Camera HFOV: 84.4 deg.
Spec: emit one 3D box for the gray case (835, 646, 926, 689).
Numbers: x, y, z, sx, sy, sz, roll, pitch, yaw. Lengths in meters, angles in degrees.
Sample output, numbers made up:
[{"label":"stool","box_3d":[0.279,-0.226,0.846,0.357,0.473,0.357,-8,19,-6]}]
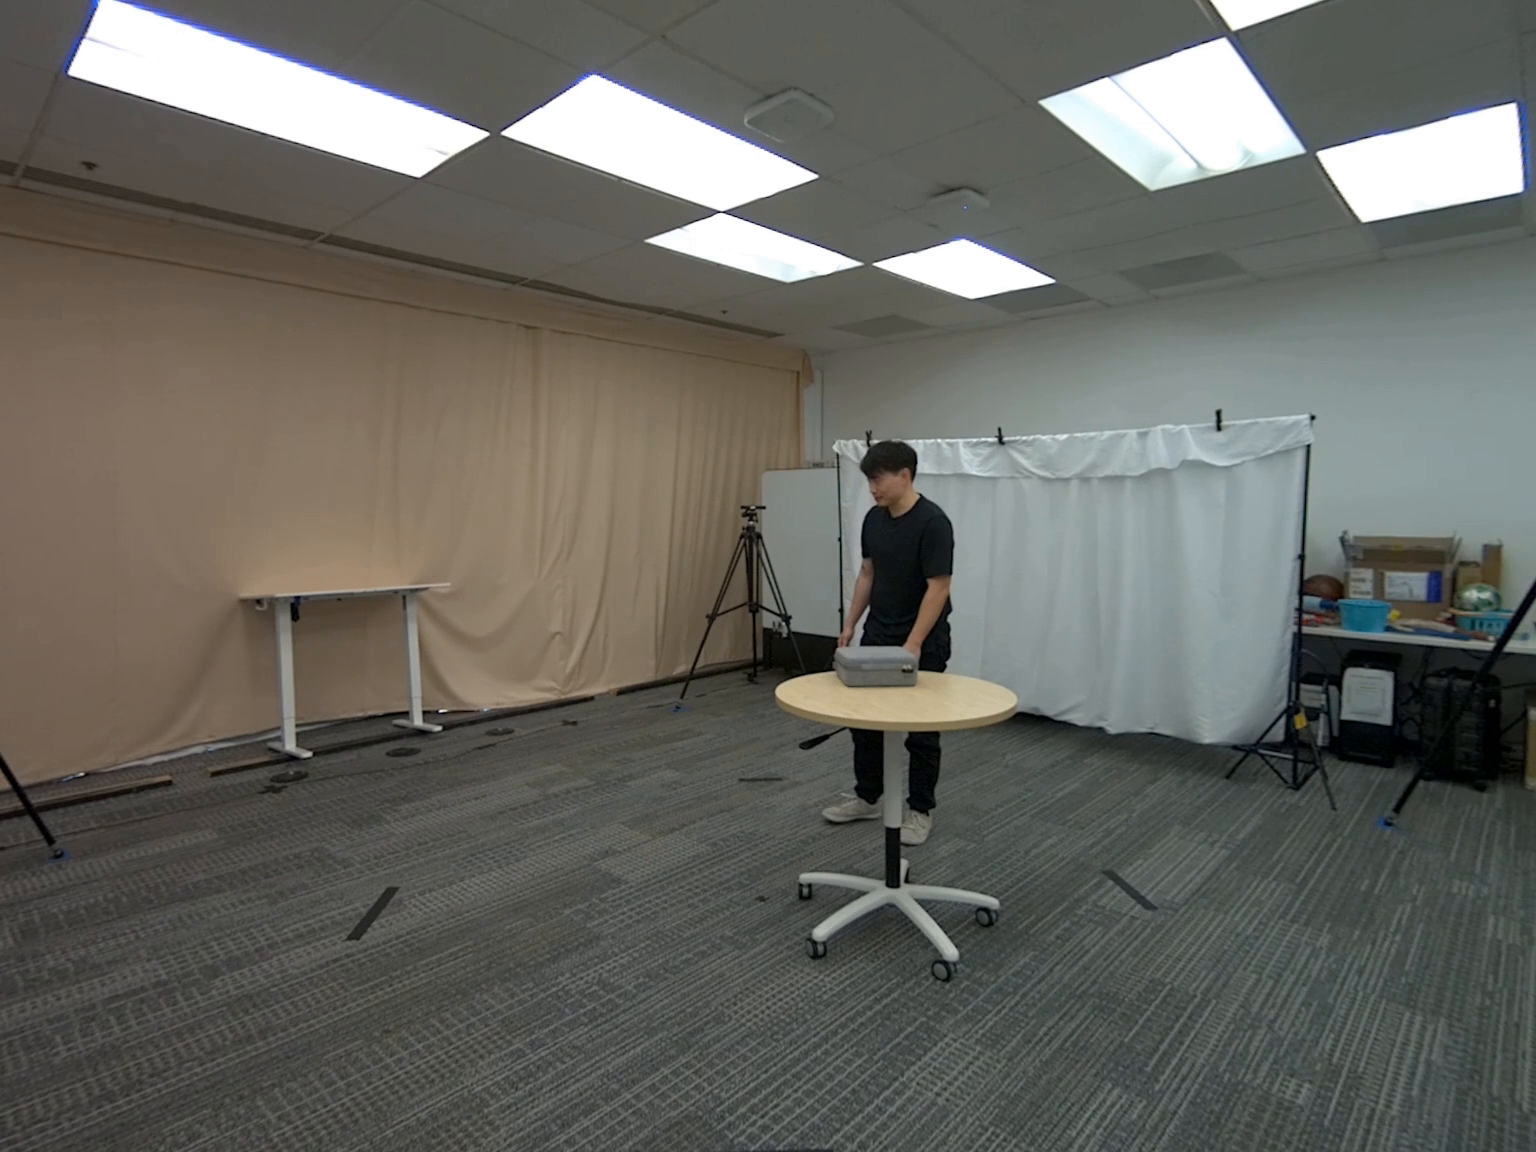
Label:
[{"label":"gray case","box_3d":[0.380,0.310,2.920,0.256,0.104,0.261,-1,3,-3]}]
